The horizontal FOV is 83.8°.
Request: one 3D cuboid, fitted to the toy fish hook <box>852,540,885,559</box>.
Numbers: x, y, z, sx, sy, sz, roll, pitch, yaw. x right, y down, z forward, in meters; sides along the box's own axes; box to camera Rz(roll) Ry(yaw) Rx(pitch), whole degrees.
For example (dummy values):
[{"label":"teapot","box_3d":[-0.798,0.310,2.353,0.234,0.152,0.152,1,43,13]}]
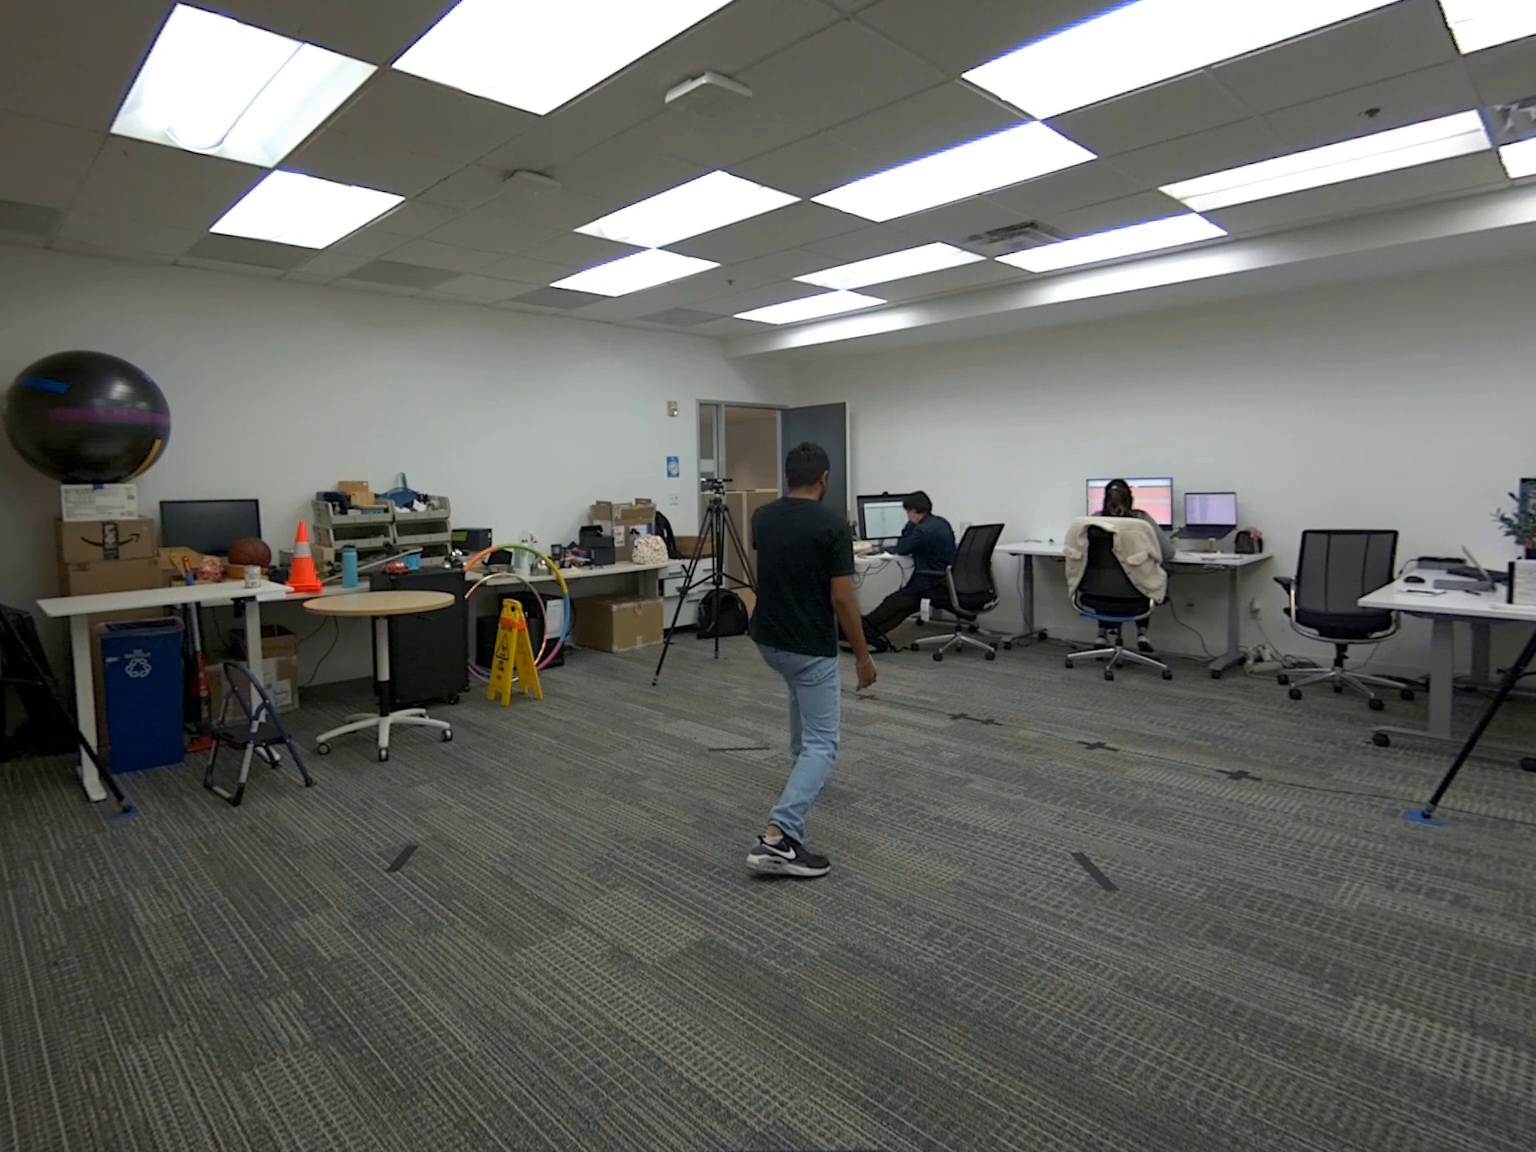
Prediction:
[{"label":"toy fish hook","box_3d":[0.250,-0.110,4.165,0.497,0.048,0.230,-7,7,-23]}]
